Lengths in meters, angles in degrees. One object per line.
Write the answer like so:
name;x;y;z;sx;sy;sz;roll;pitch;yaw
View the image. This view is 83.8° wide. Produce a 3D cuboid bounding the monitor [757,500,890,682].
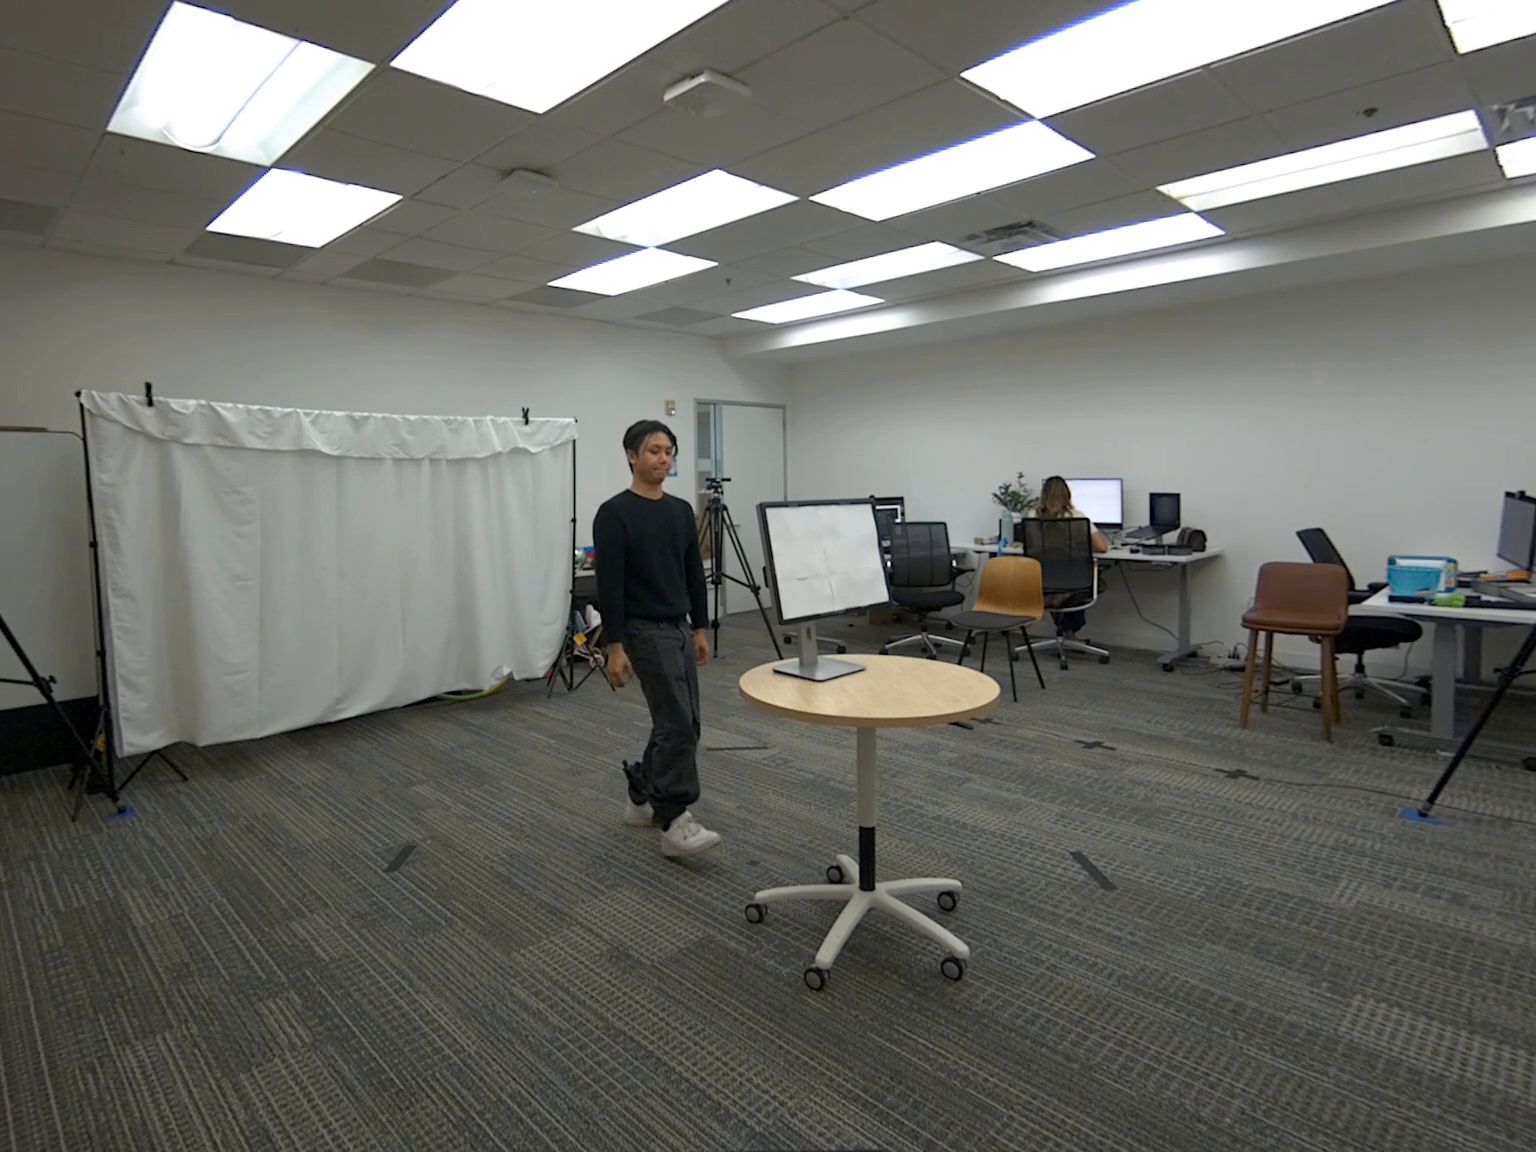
monitor;0.165;0.036;2.701;0.193;0.520;0.525;4;7;42
